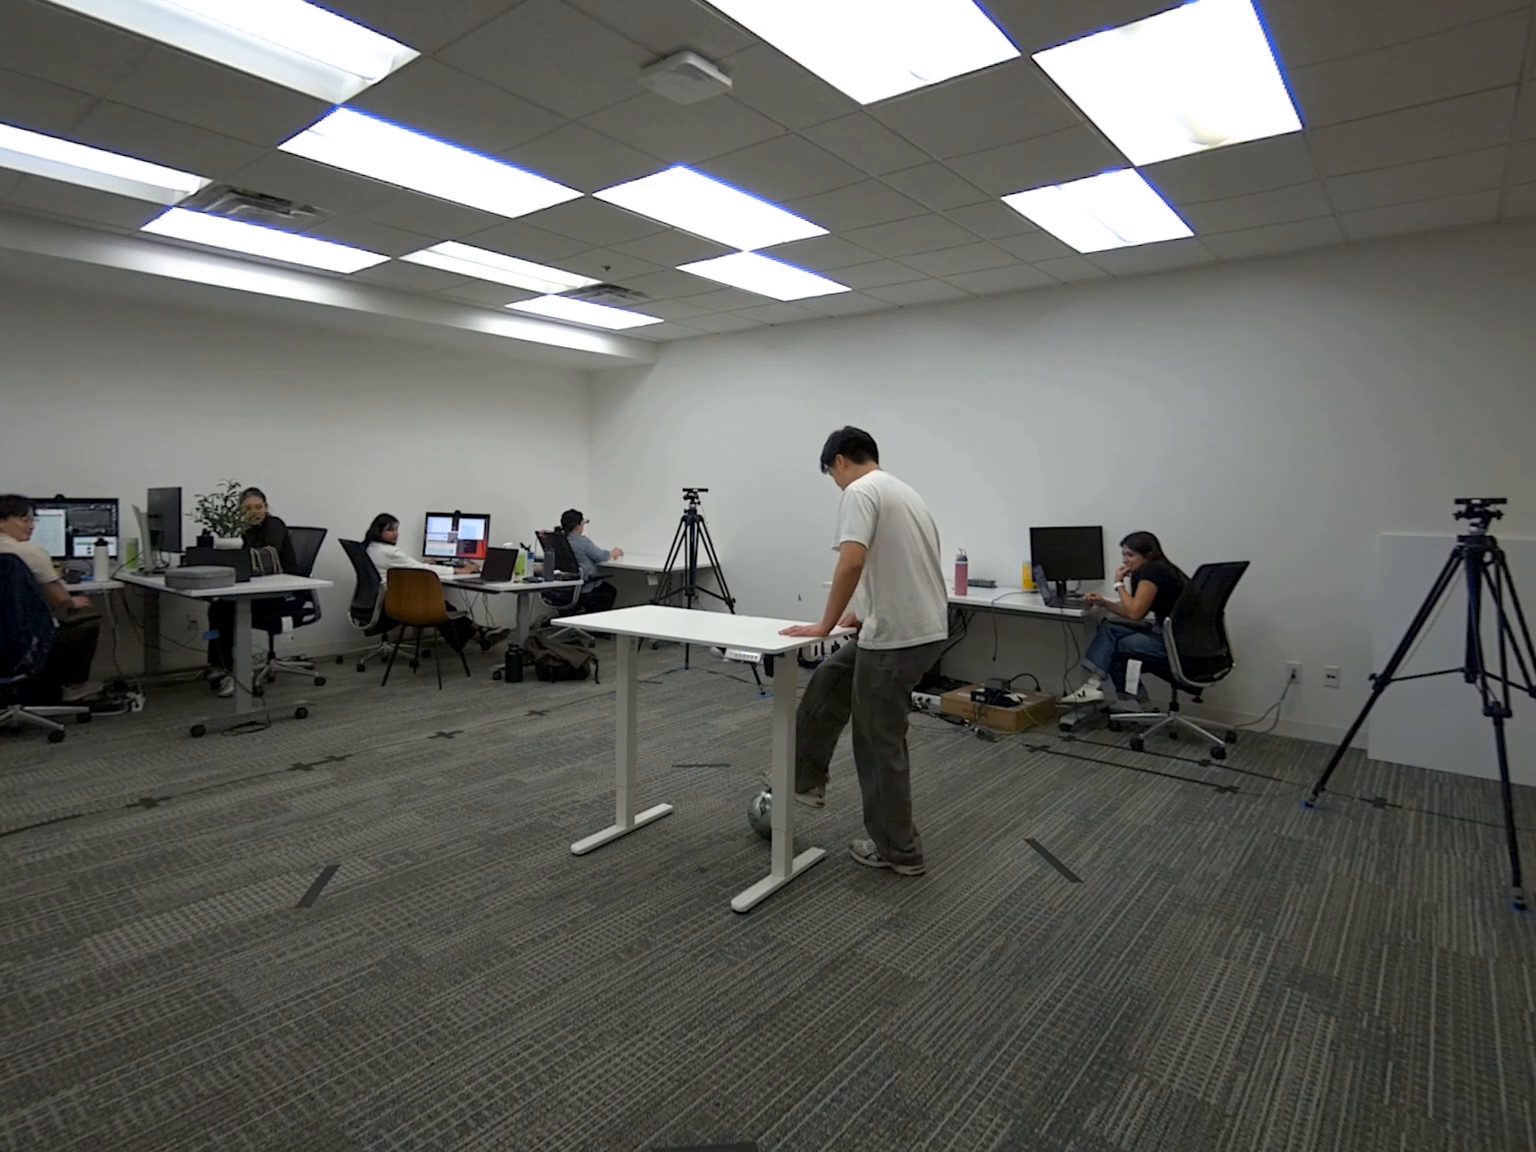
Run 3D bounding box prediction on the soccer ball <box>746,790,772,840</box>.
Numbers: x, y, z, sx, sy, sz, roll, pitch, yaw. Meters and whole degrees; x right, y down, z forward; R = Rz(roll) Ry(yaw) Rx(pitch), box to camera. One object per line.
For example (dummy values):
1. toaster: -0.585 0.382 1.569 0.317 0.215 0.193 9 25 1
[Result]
1. soccer ball: 0.030 0.941 3.433 0.187 0.187 0.188 1 4 -2
